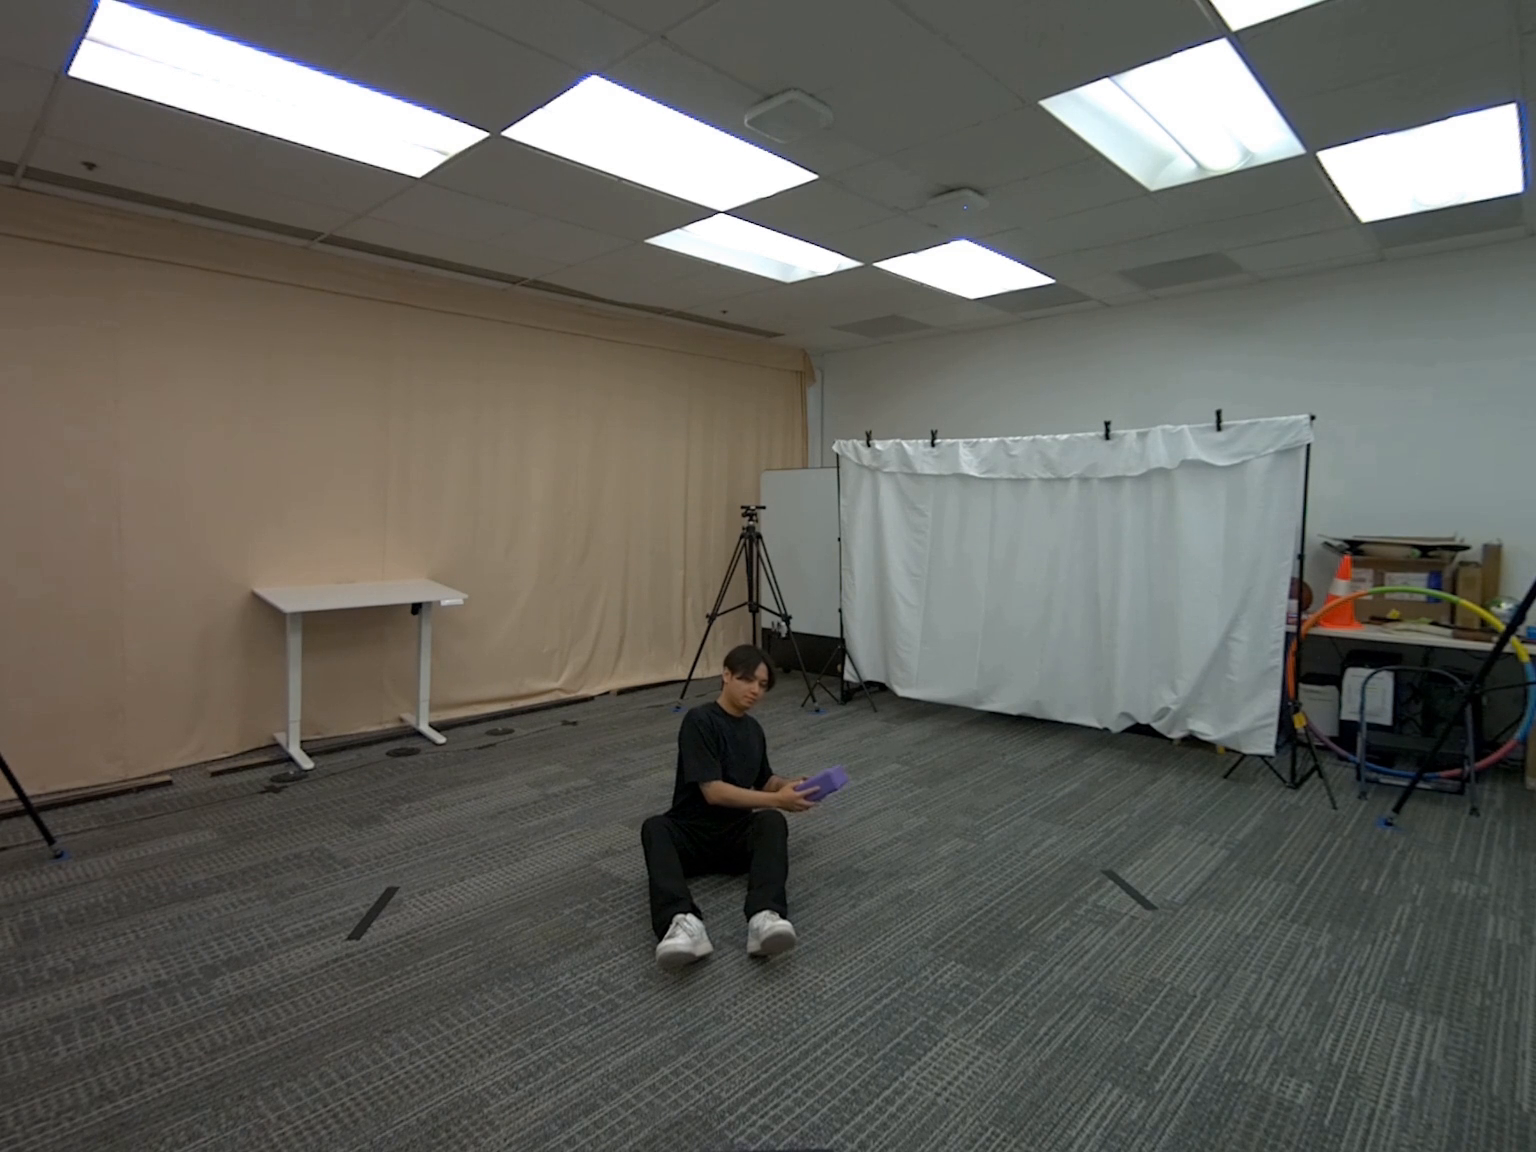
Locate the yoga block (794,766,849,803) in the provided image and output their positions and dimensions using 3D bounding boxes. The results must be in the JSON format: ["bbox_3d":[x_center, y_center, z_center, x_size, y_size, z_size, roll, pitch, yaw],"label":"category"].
[{"bbox_3d":[0.176,0.806,3.210,0.232,0.077,0.145,-30,-12,22],"label":"yoga block"}]
